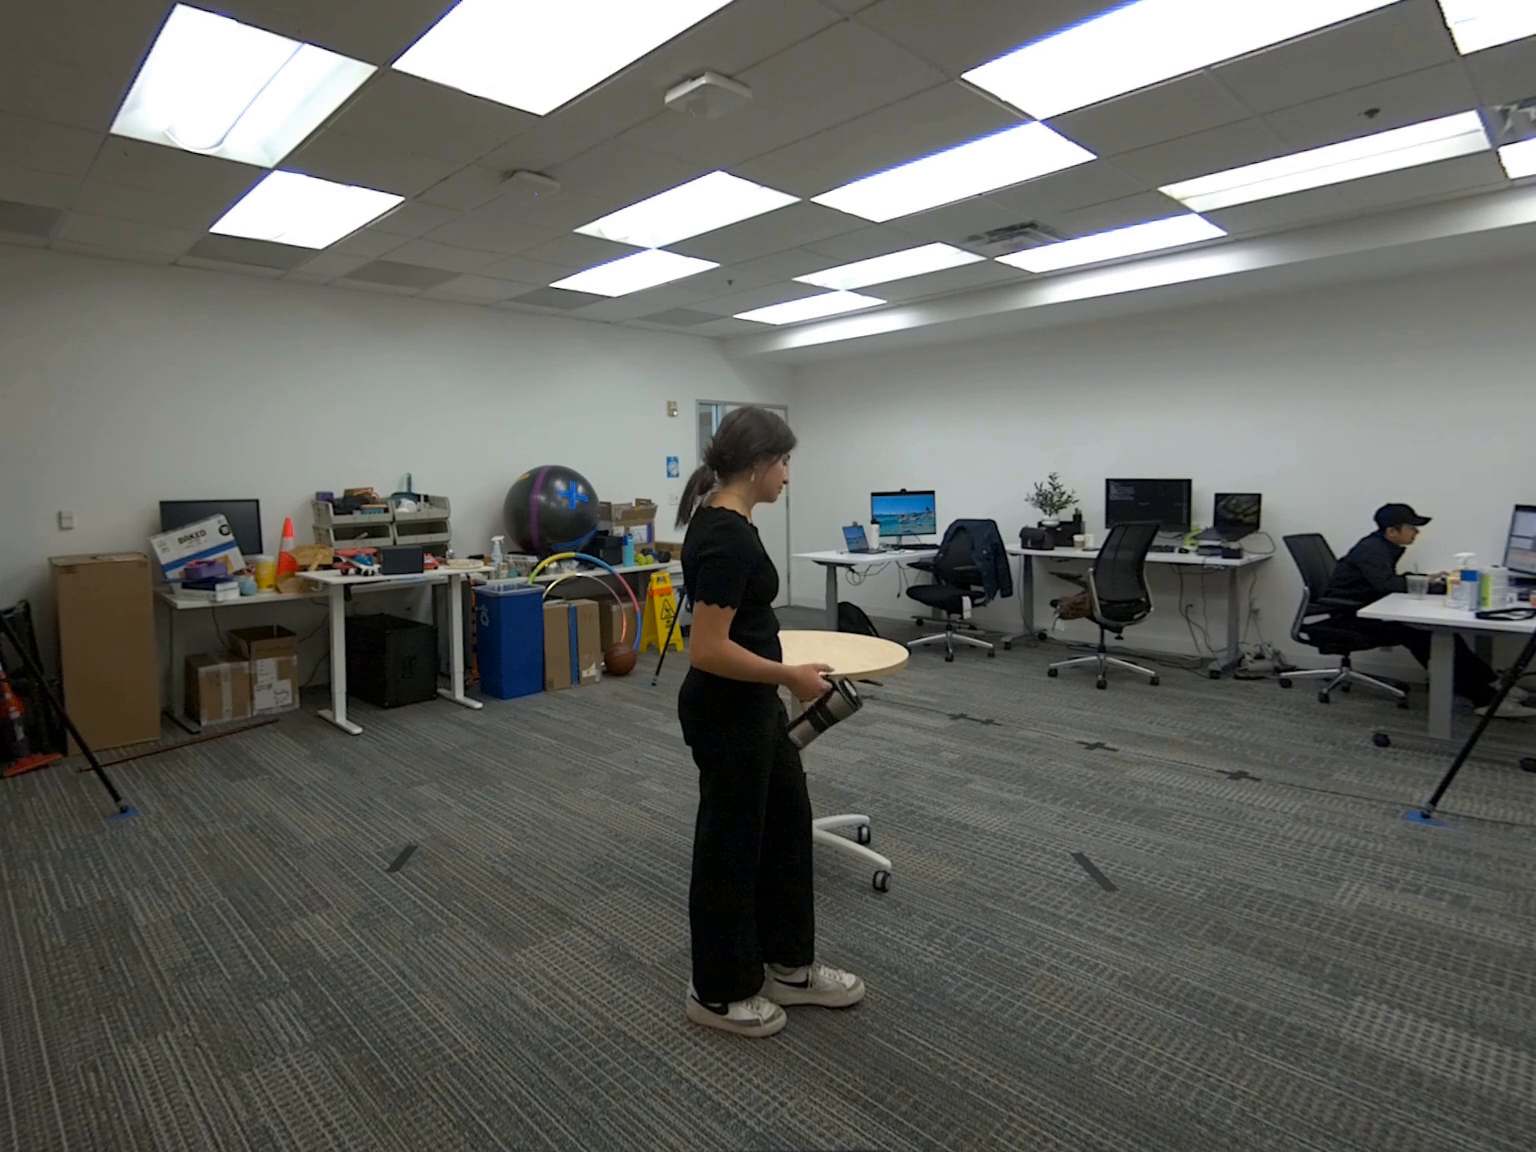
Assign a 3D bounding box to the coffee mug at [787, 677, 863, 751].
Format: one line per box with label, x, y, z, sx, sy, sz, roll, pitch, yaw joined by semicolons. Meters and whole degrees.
coffee mug;0.121;0.323;2.092;0.203;0.119;0.090;-40;19;11
